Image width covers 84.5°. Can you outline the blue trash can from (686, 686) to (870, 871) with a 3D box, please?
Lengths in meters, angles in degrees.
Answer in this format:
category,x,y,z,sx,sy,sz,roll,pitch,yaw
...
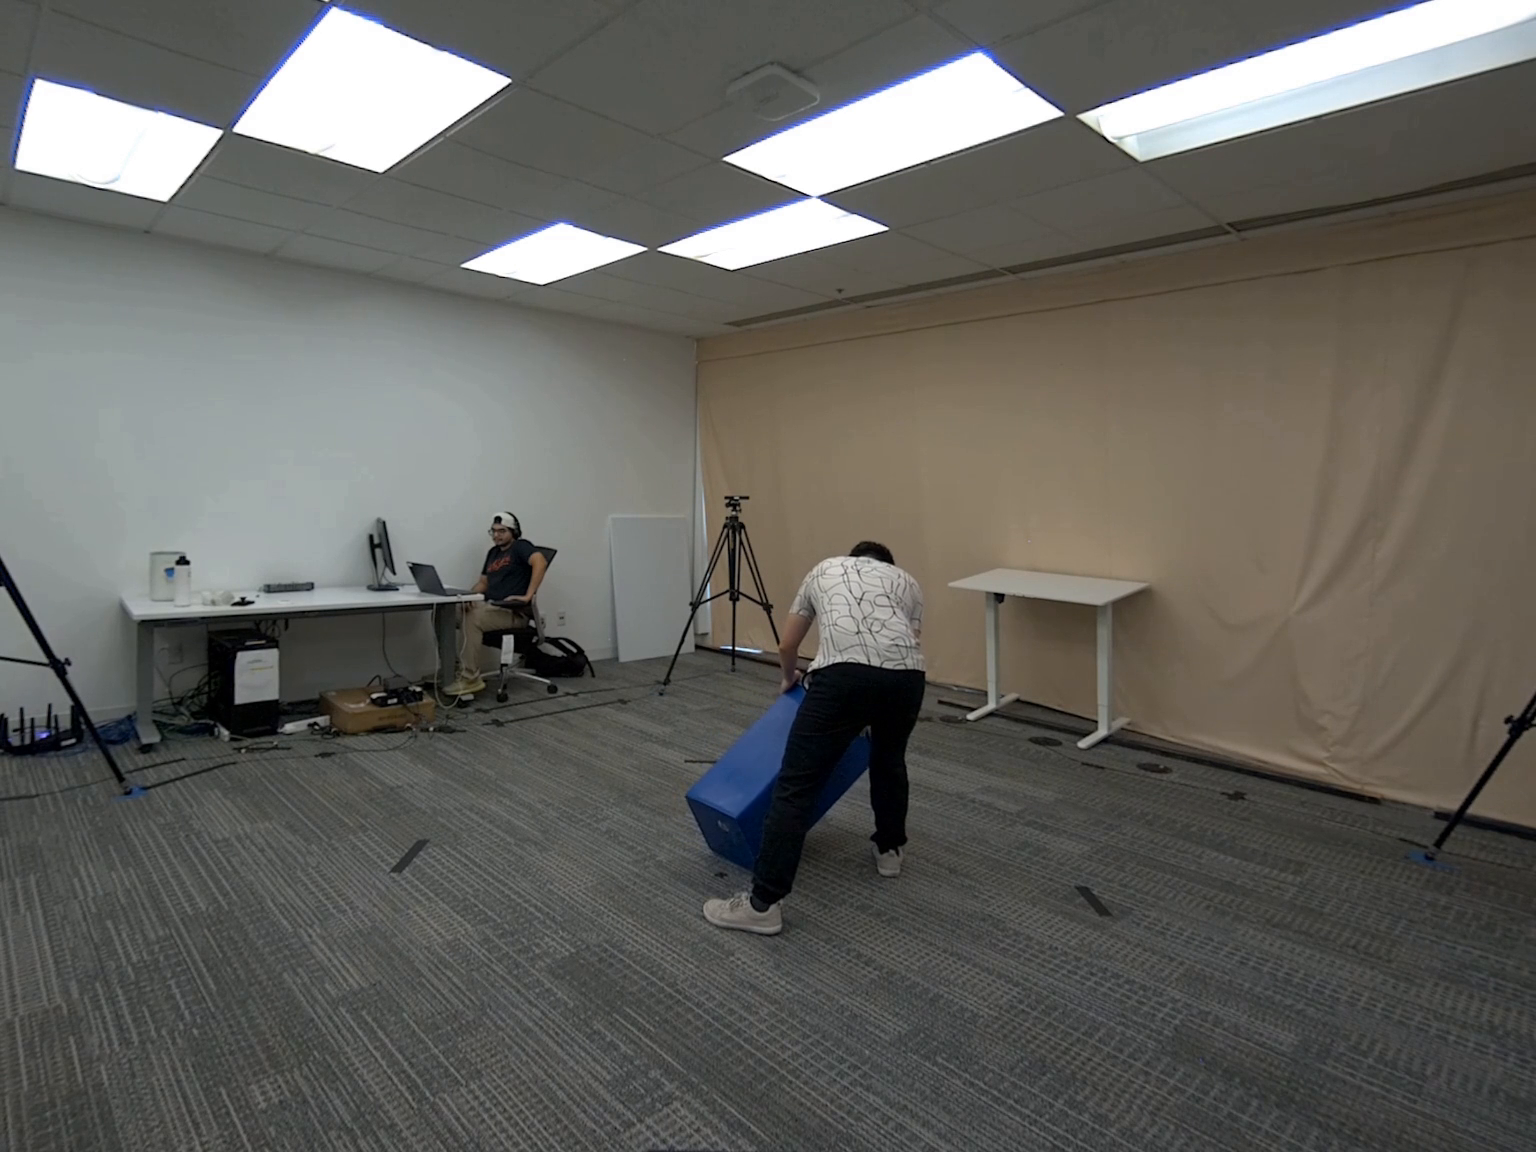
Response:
category,x,y,z,sx,sy,sz,roll,pitch,yaw
blue trash can,0.046,0.780,3.328,0.384,0.370,0.710,7,37,47
